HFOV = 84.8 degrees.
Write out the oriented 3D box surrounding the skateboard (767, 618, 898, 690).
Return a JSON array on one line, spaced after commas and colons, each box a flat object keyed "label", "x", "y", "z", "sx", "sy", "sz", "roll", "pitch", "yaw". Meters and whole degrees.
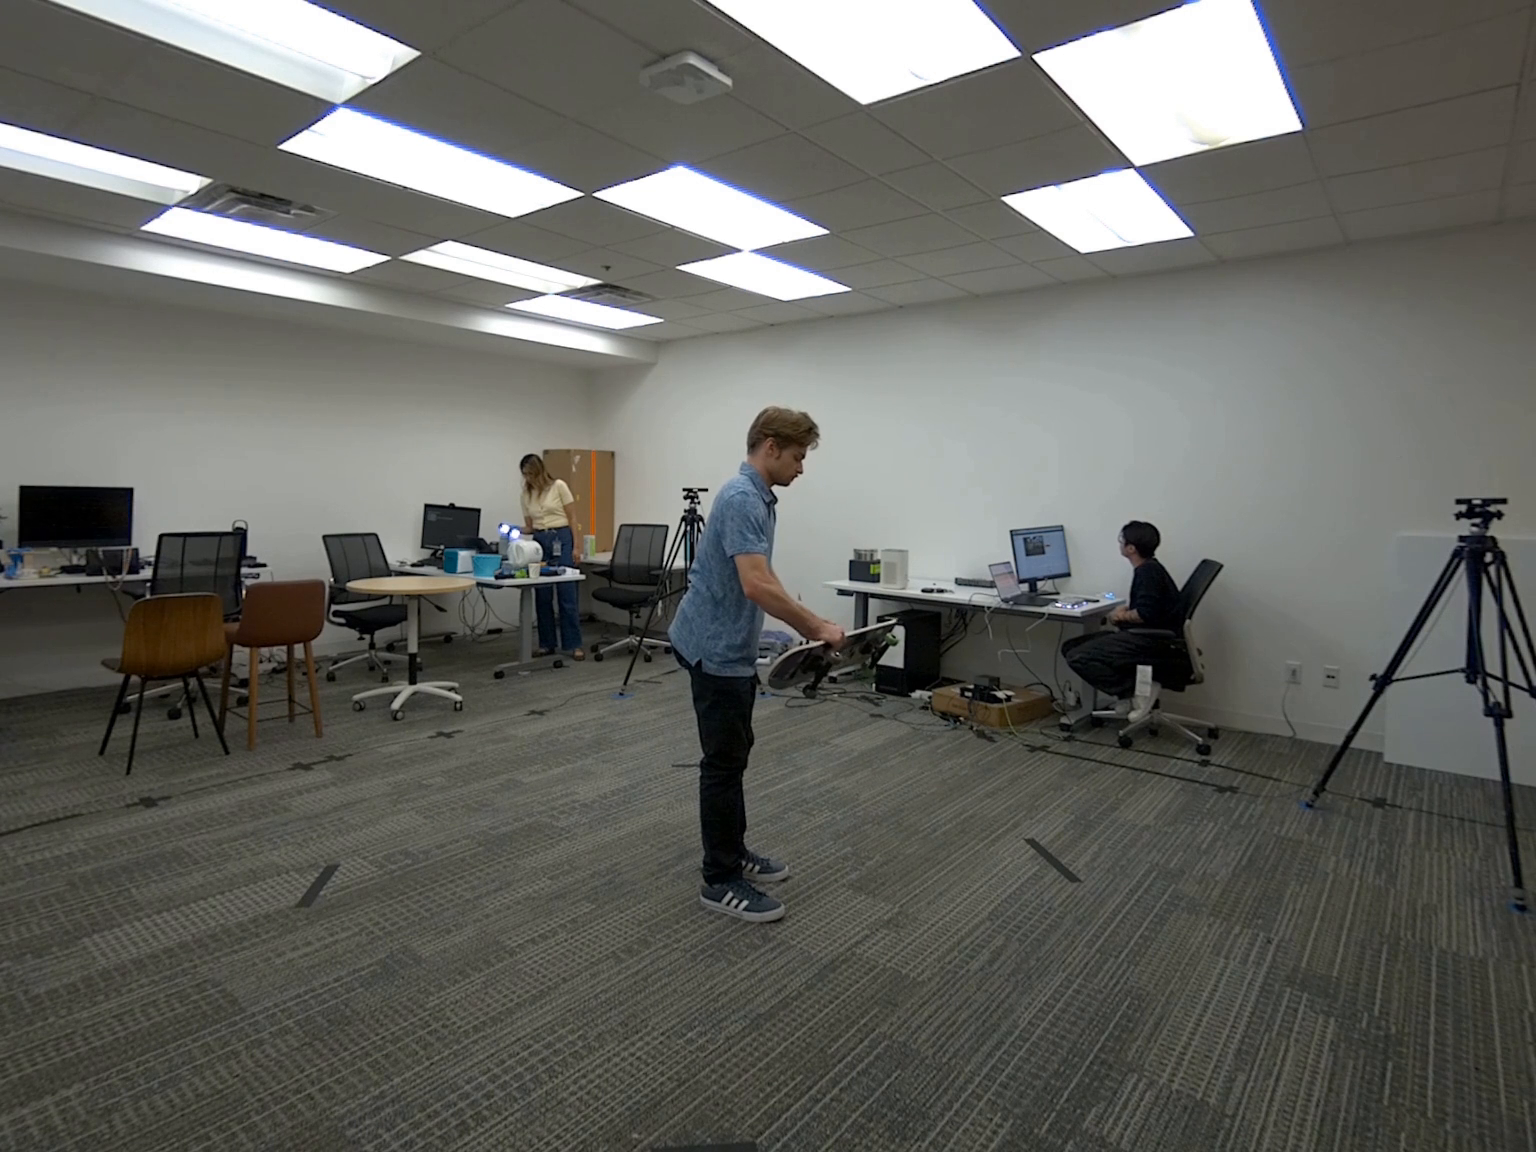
[{"label": "skateboard", "x": 0.250, "y": 0.287, "z": 2.911, "sx": 0.114, "sy": 0.192, "sz": 0.764, "roll": 41, "pitch": 27, "yaw": 27}]
